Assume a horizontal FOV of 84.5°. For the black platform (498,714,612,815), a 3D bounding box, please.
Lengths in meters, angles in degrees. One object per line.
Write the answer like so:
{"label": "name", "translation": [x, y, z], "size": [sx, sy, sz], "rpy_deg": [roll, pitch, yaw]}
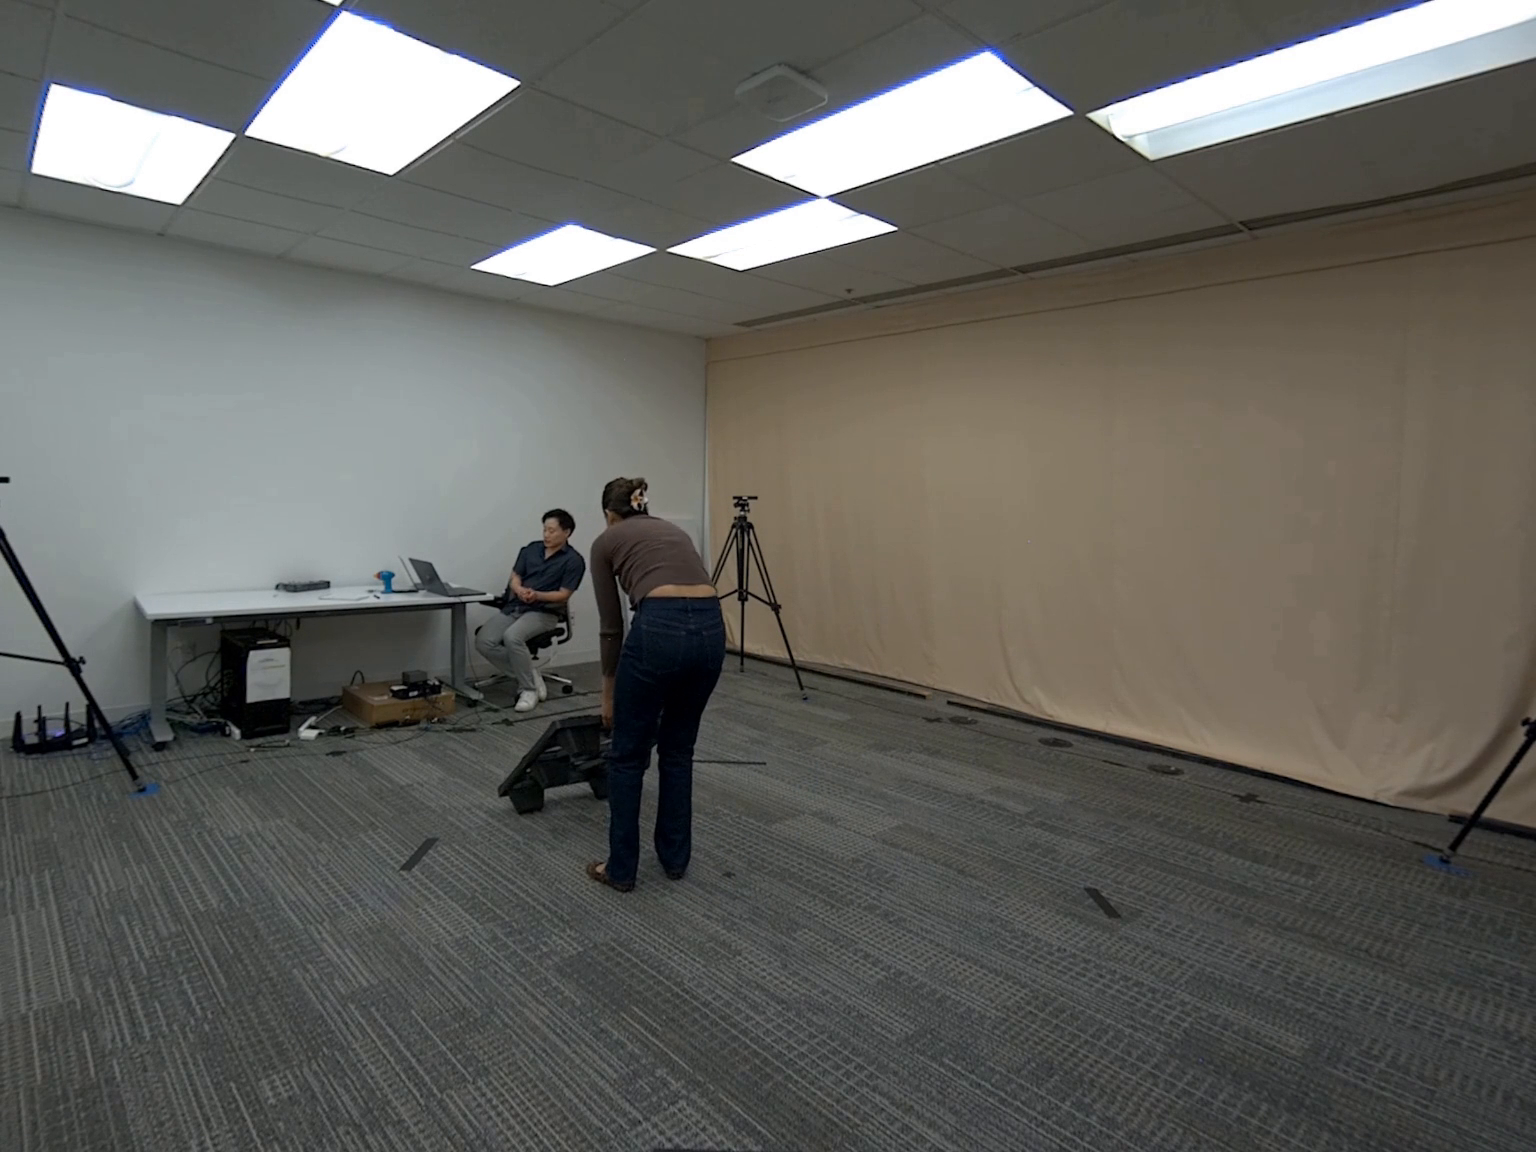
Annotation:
{"label": "black platform", "translation": [-0.744, 0.782, 3.546], "size": [0.592, 0.146, 0.805], "rpy_deg": [-3, -29, -36]}
